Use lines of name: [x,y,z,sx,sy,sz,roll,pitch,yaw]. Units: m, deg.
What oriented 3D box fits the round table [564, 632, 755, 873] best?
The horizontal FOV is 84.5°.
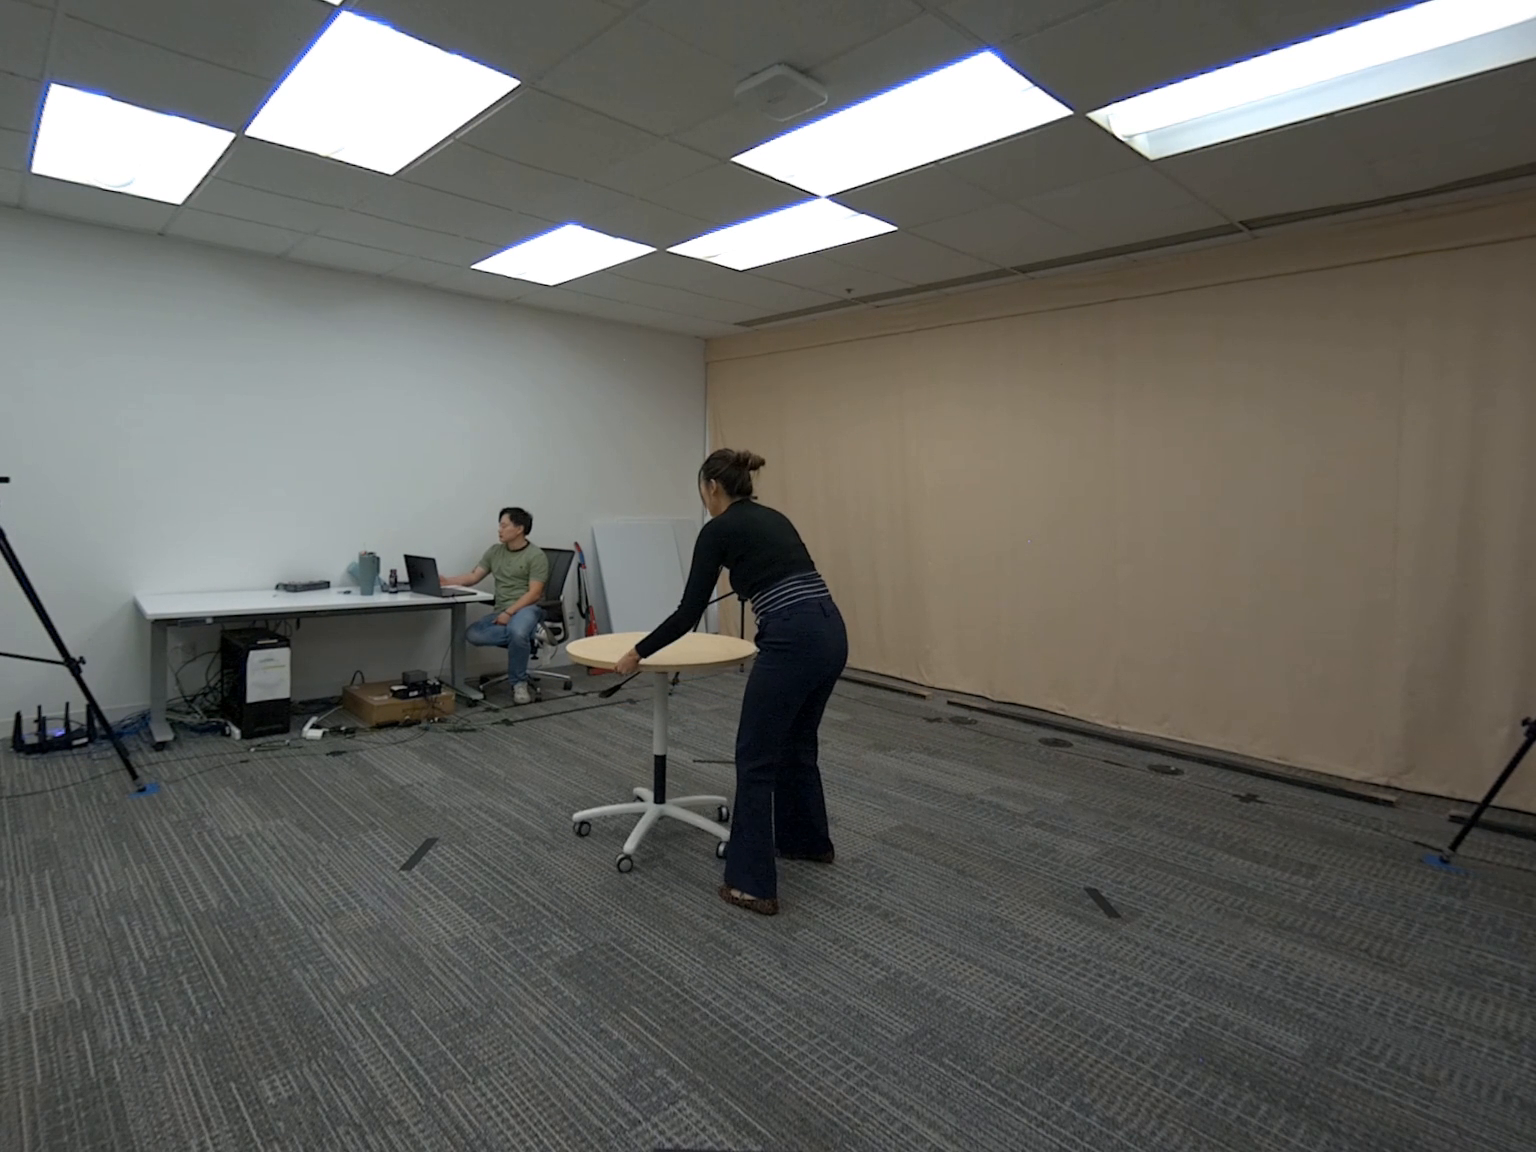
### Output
round table: [-0.443,0.679,3.417,0.763,0.792,0.766,1,4,-1]
